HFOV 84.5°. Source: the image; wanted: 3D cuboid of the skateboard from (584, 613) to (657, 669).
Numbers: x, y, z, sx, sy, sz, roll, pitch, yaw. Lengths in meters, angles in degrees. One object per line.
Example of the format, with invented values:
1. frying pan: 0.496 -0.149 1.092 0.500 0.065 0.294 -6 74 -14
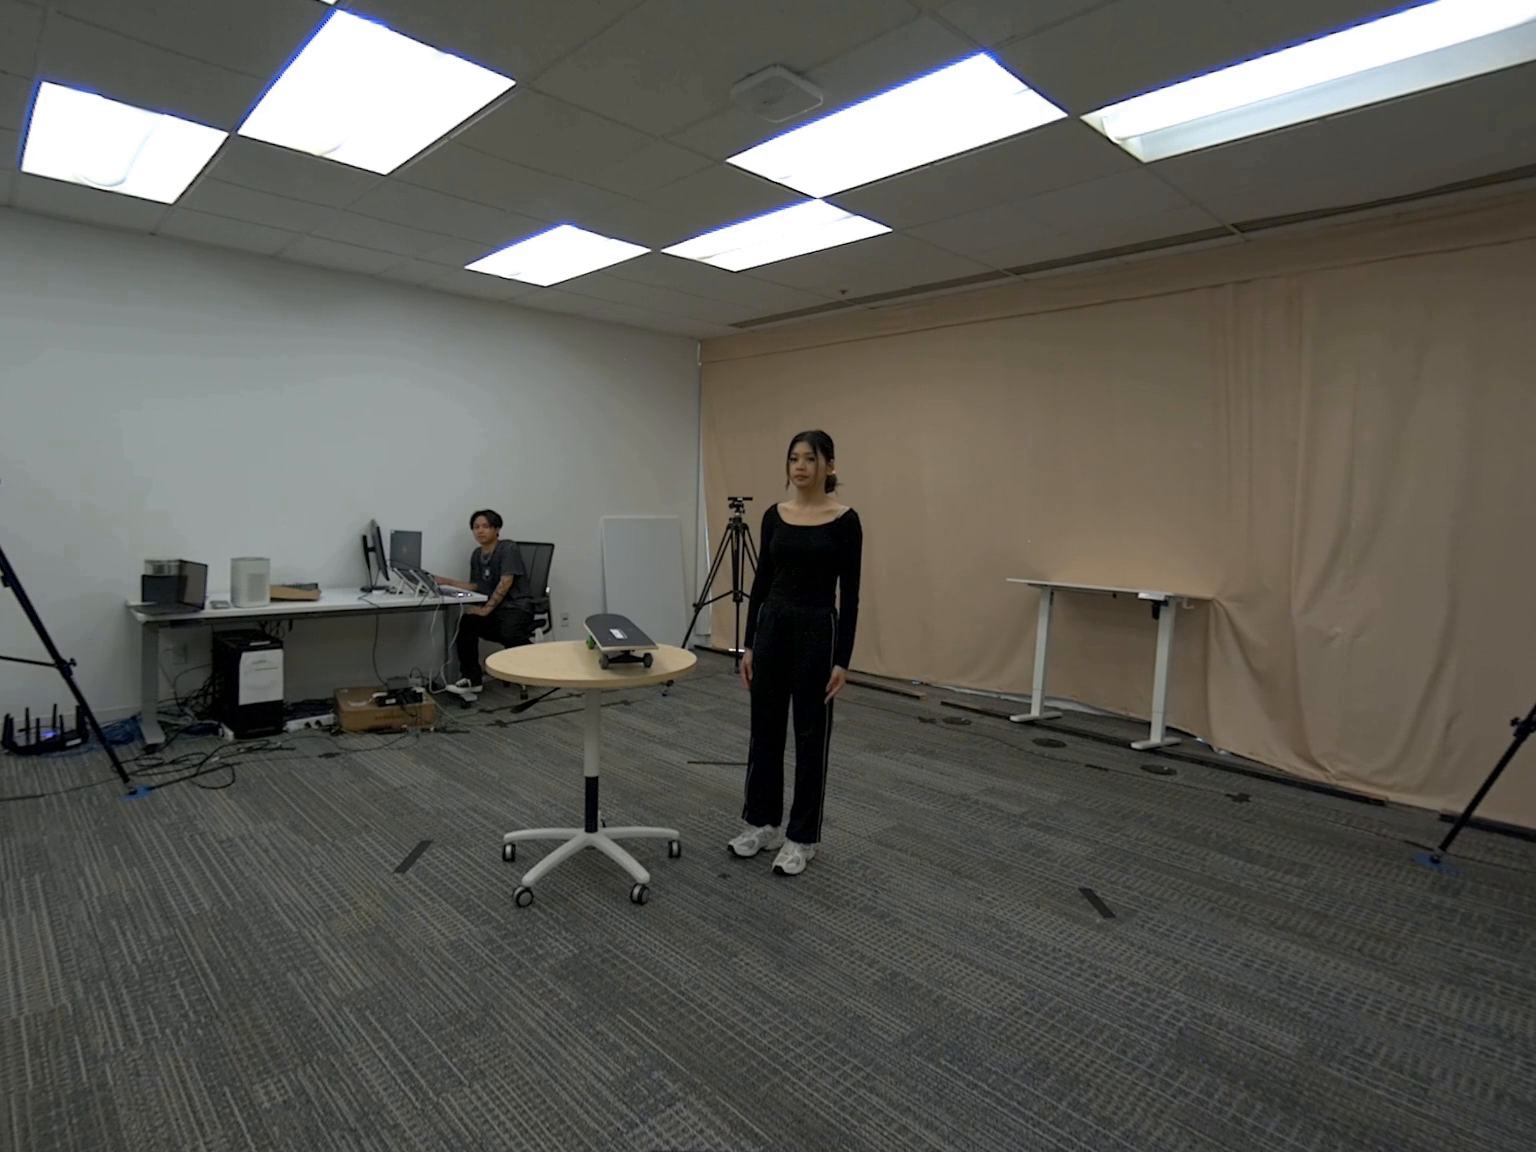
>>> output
1. skateboard: -0.565 0.254 3.125 0.191 0.110 0.798 -1 6 -18
